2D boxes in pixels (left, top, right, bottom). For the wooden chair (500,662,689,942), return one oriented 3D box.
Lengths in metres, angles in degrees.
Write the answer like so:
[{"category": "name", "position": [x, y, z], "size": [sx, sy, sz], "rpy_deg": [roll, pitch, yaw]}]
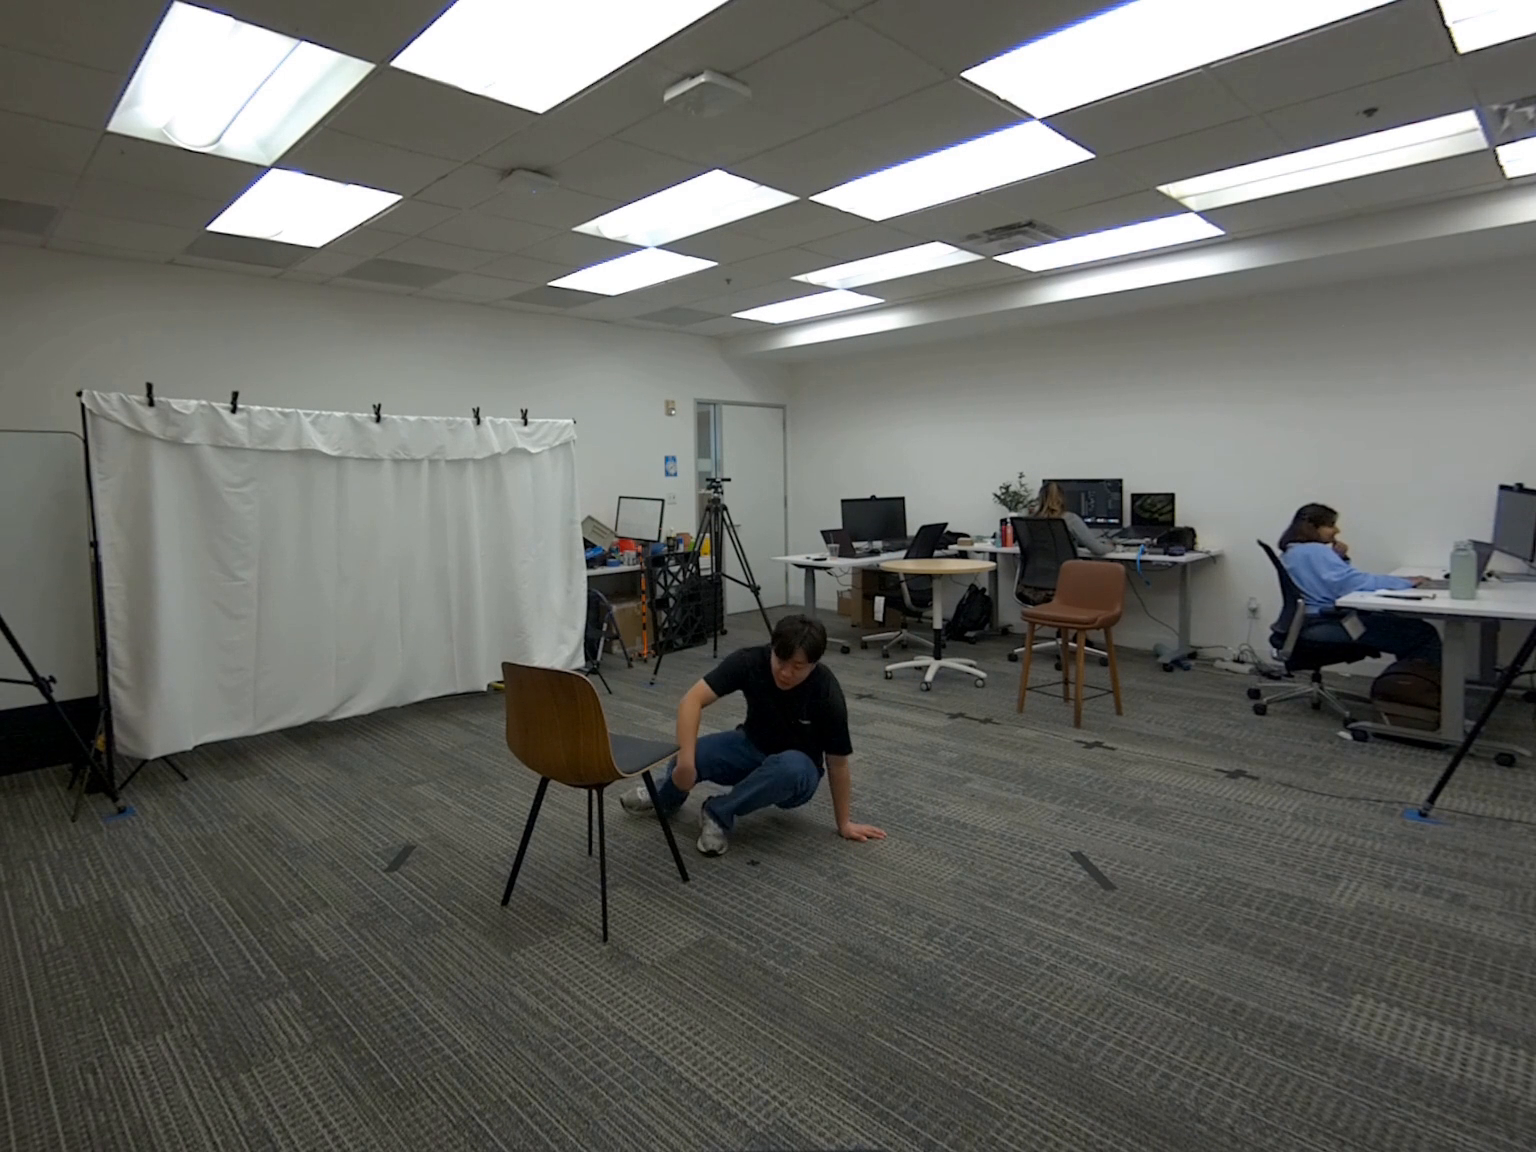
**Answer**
[{"category": "wooden chair", "position": [-0.577, 0.653, 2.867], "size": [0.491, 0.871, 0.513], "rpy_deg": [2, 9, 31]}]
